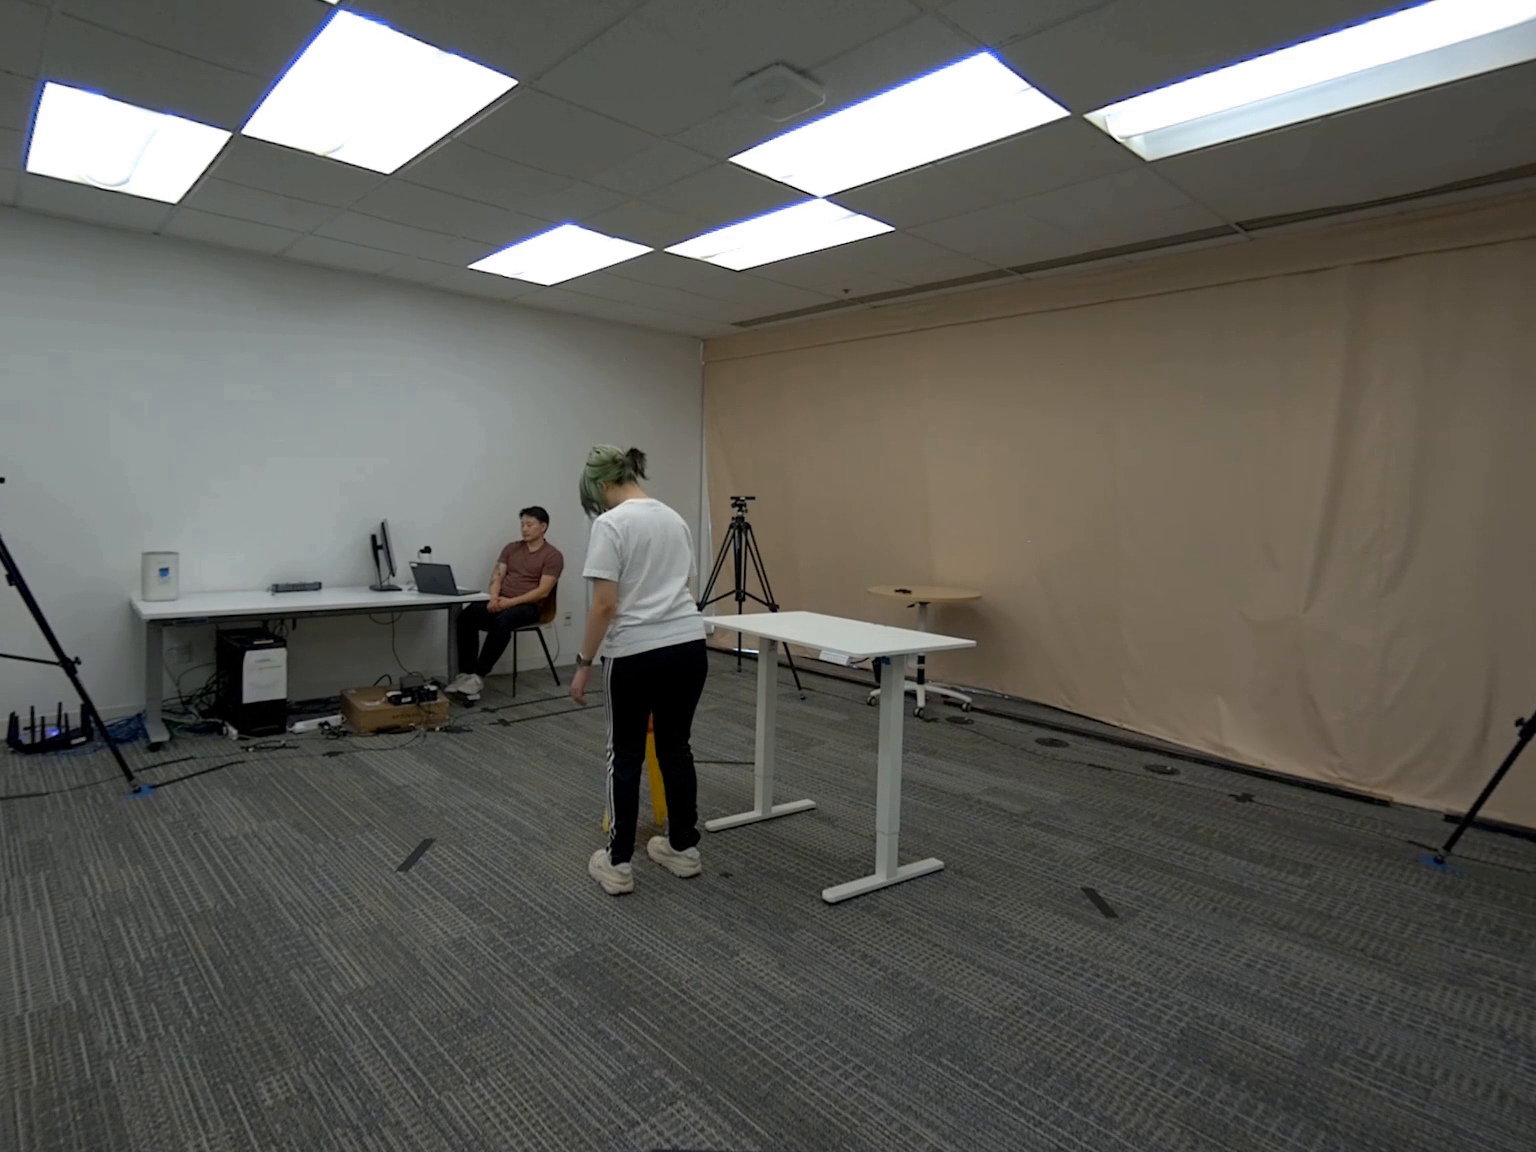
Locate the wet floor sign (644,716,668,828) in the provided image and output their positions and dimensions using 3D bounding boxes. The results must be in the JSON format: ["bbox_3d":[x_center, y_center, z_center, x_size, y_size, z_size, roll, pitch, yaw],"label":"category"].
[{"bbox_3d":[-0.524,0.744,3.439,0.285,0.645,0.288,0,3,-24],"label":"wet floor sign"}]
